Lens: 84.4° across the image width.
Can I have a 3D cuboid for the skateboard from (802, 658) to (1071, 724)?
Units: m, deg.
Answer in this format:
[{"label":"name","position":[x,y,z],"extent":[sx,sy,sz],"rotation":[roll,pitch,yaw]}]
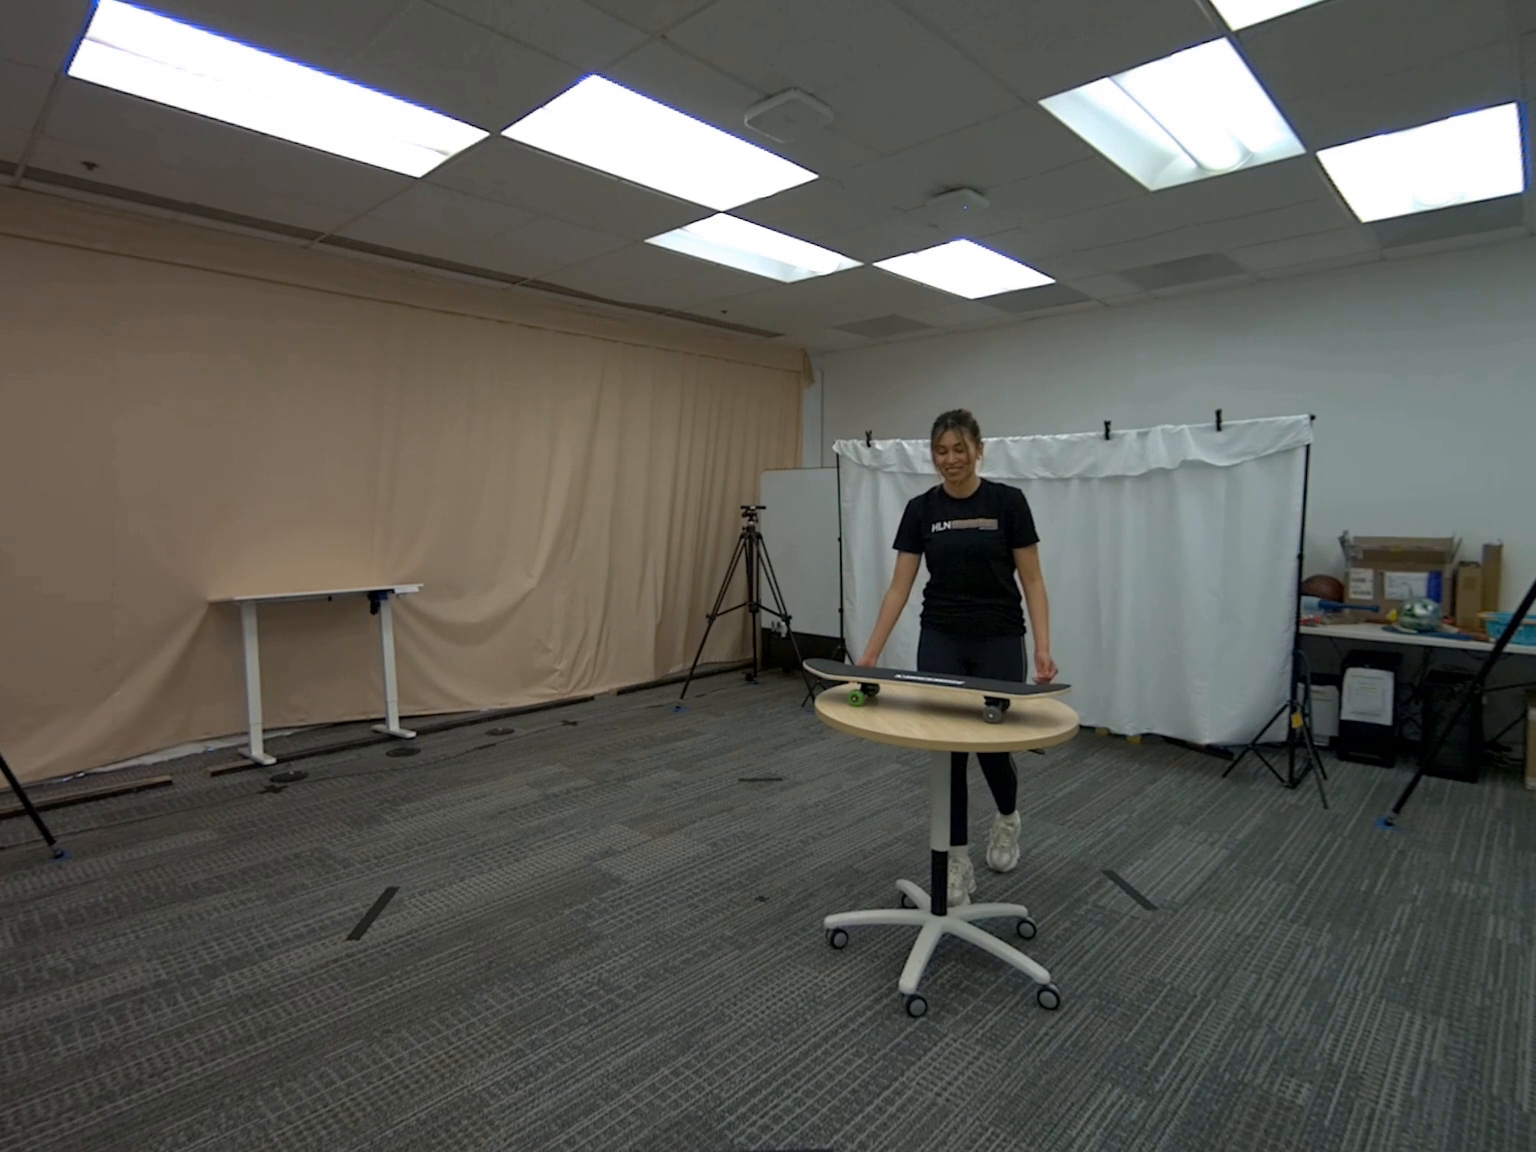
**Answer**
[{"label":"skateboard","position":[0.498,0.348,2.524],"extent":[0.807,0.110,0.189],"rotation":[2,5,27]}]
